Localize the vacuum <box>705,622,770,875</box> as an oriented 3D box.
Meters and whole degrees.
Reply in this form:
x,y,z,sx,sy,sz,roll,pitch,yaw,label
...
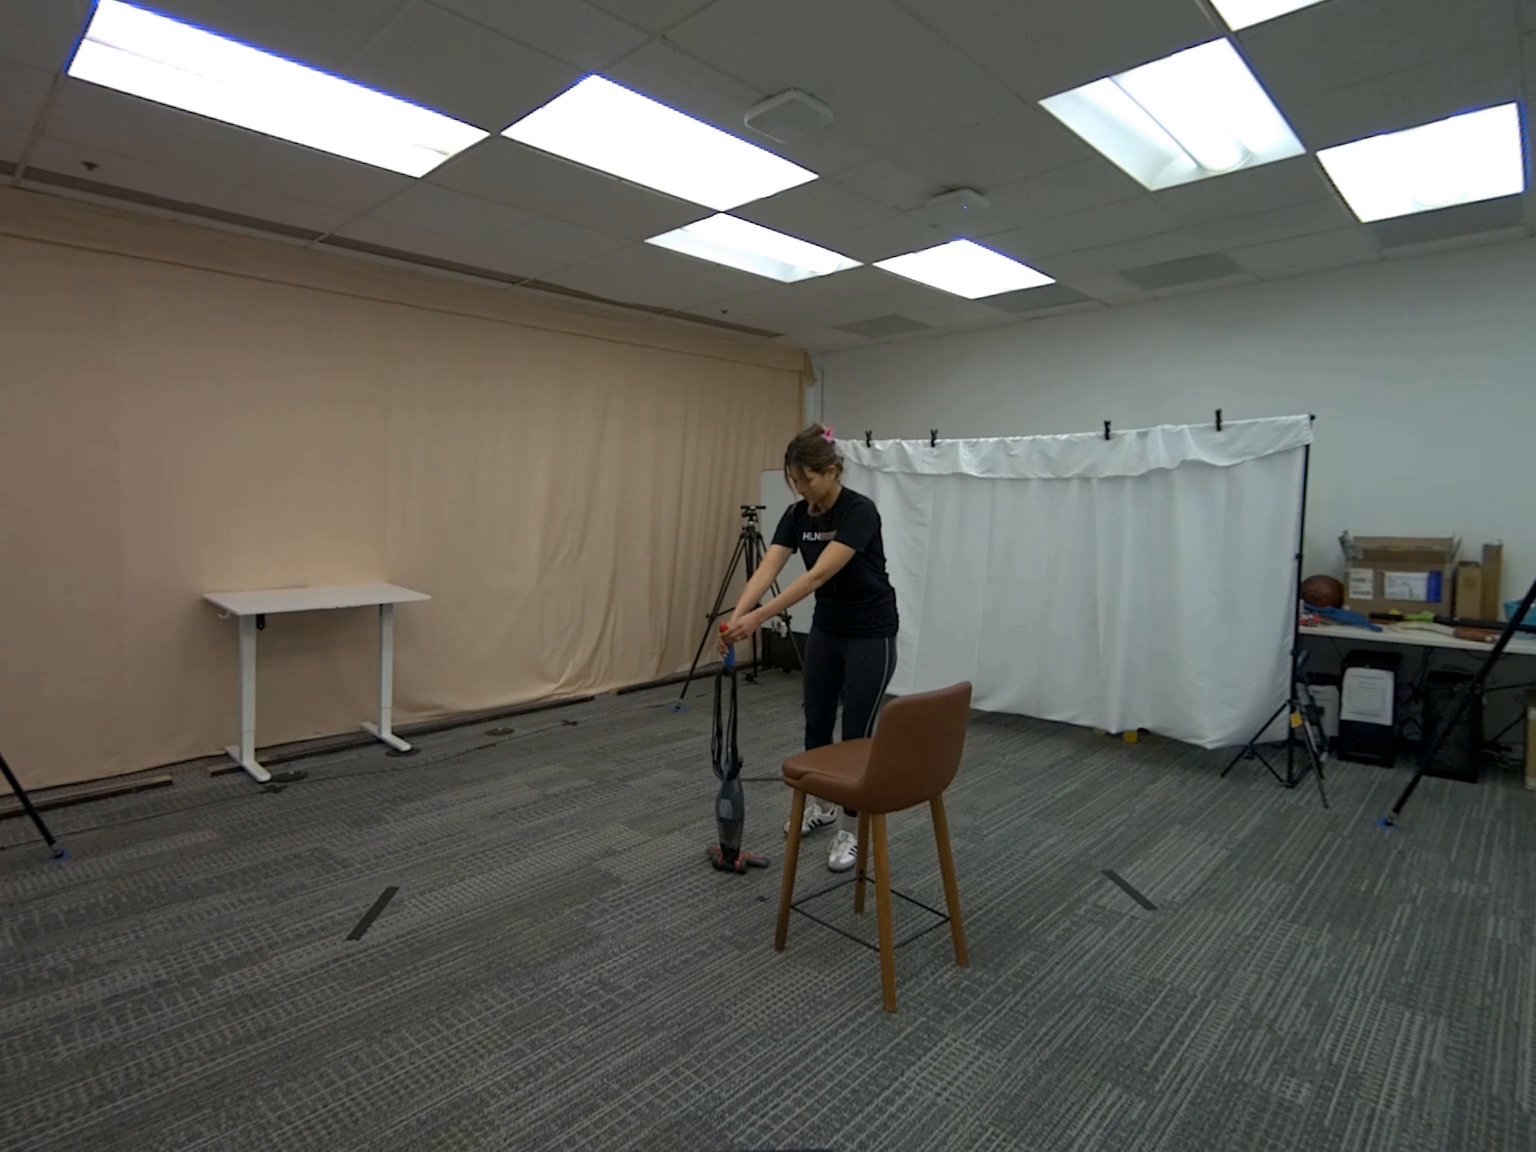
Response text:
x,y,z,sx,sy,sz,roll,pitch,yaw,label
-0.141,0.642,3.041,0.258,1.034,0.143,6,25,18,vacuum
